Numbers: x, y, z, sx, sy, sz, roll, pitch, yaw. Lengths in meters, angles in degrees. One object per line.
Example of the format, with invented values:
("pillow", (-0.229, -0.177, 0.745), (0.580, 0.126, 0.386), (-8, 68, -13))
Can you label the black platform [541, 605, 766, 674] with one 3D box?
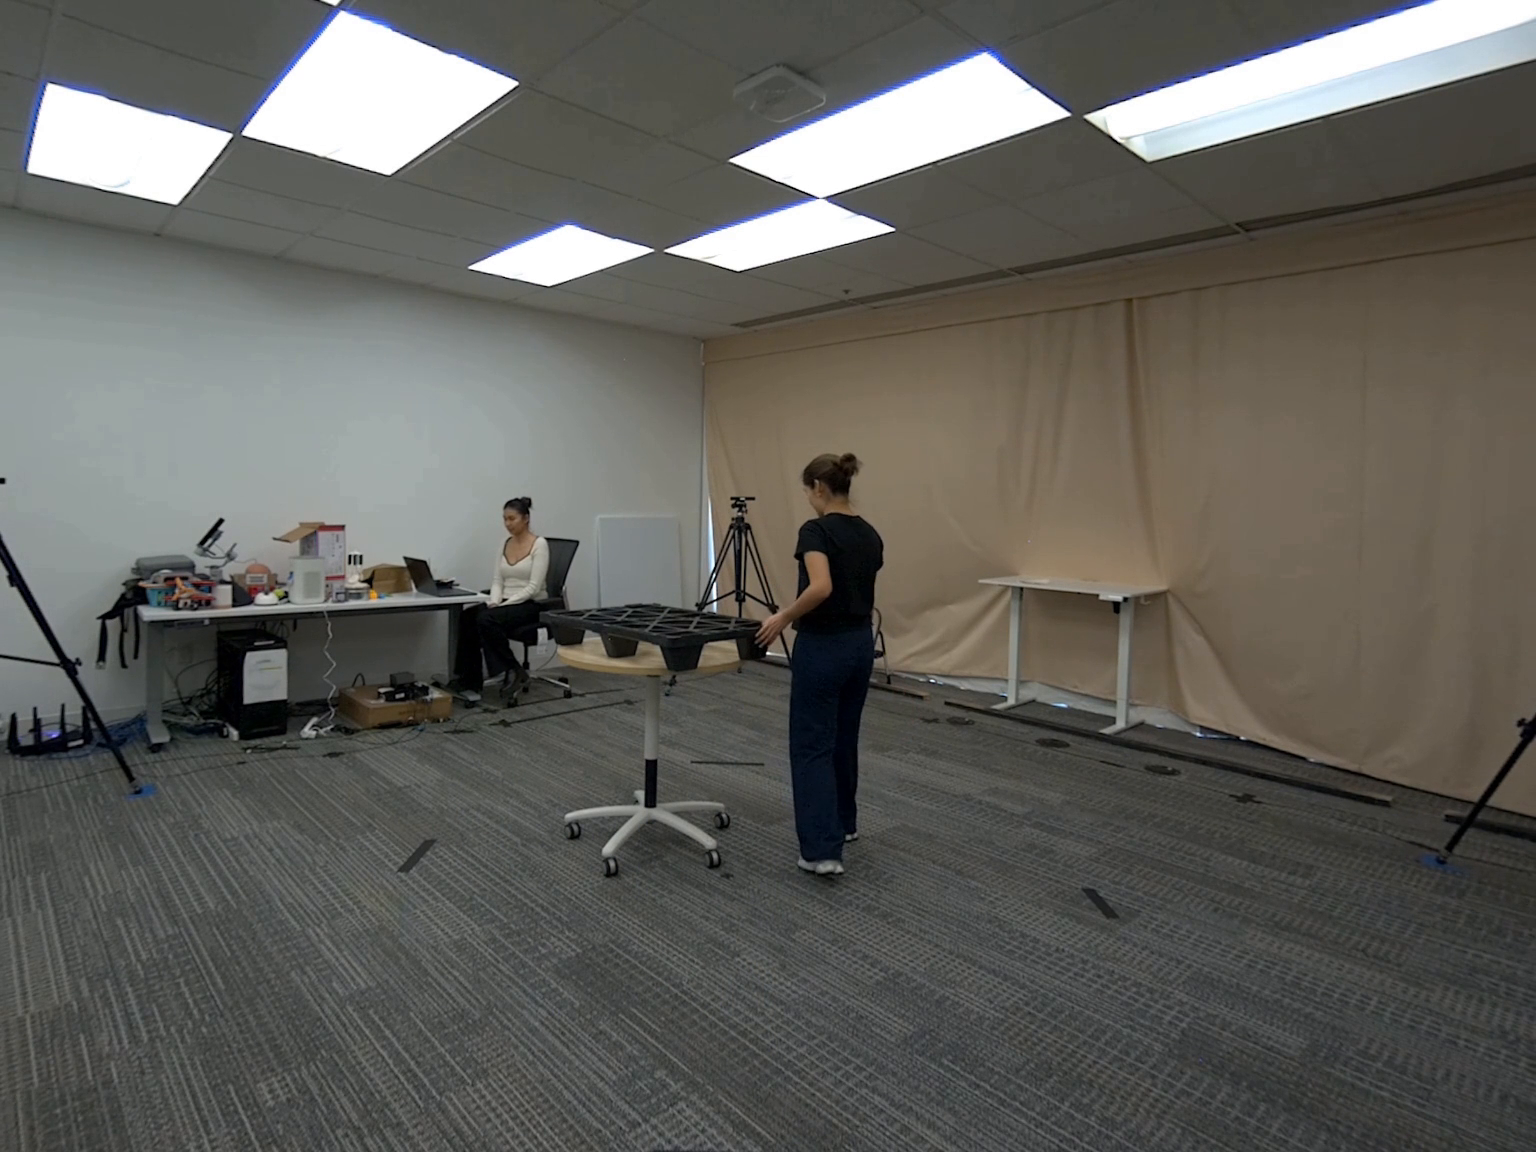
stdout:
("black platform", (-0.440, 0.232, 3.342), (0.826, 0.143, 0.591), (7, 7, 42))
